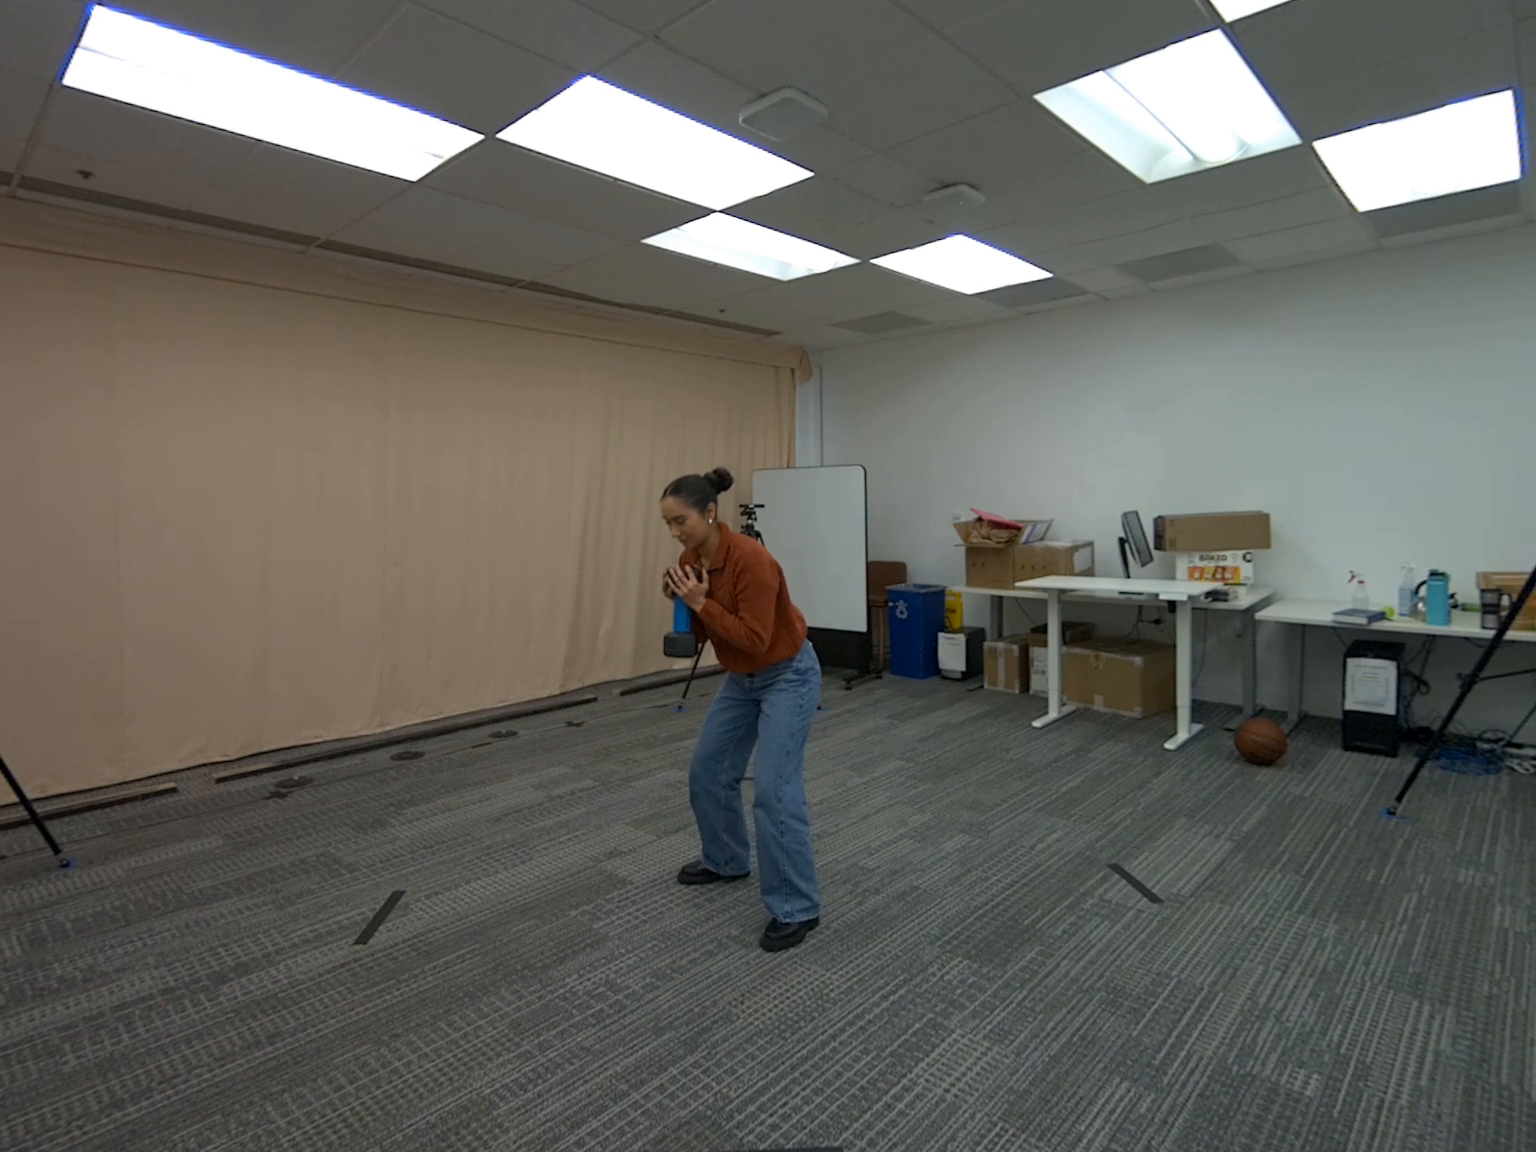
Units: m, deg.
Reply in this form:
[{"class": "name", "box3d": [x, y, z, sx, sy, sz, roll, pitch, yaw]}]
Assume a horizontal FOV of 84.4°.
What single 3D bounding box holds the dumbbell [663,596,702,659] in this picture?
[{"class": "dumbbell", "box3d": [-0.277, 0.132, 2.784, 0.127, 0.294, 0.105, -1, -4, 37]}]
